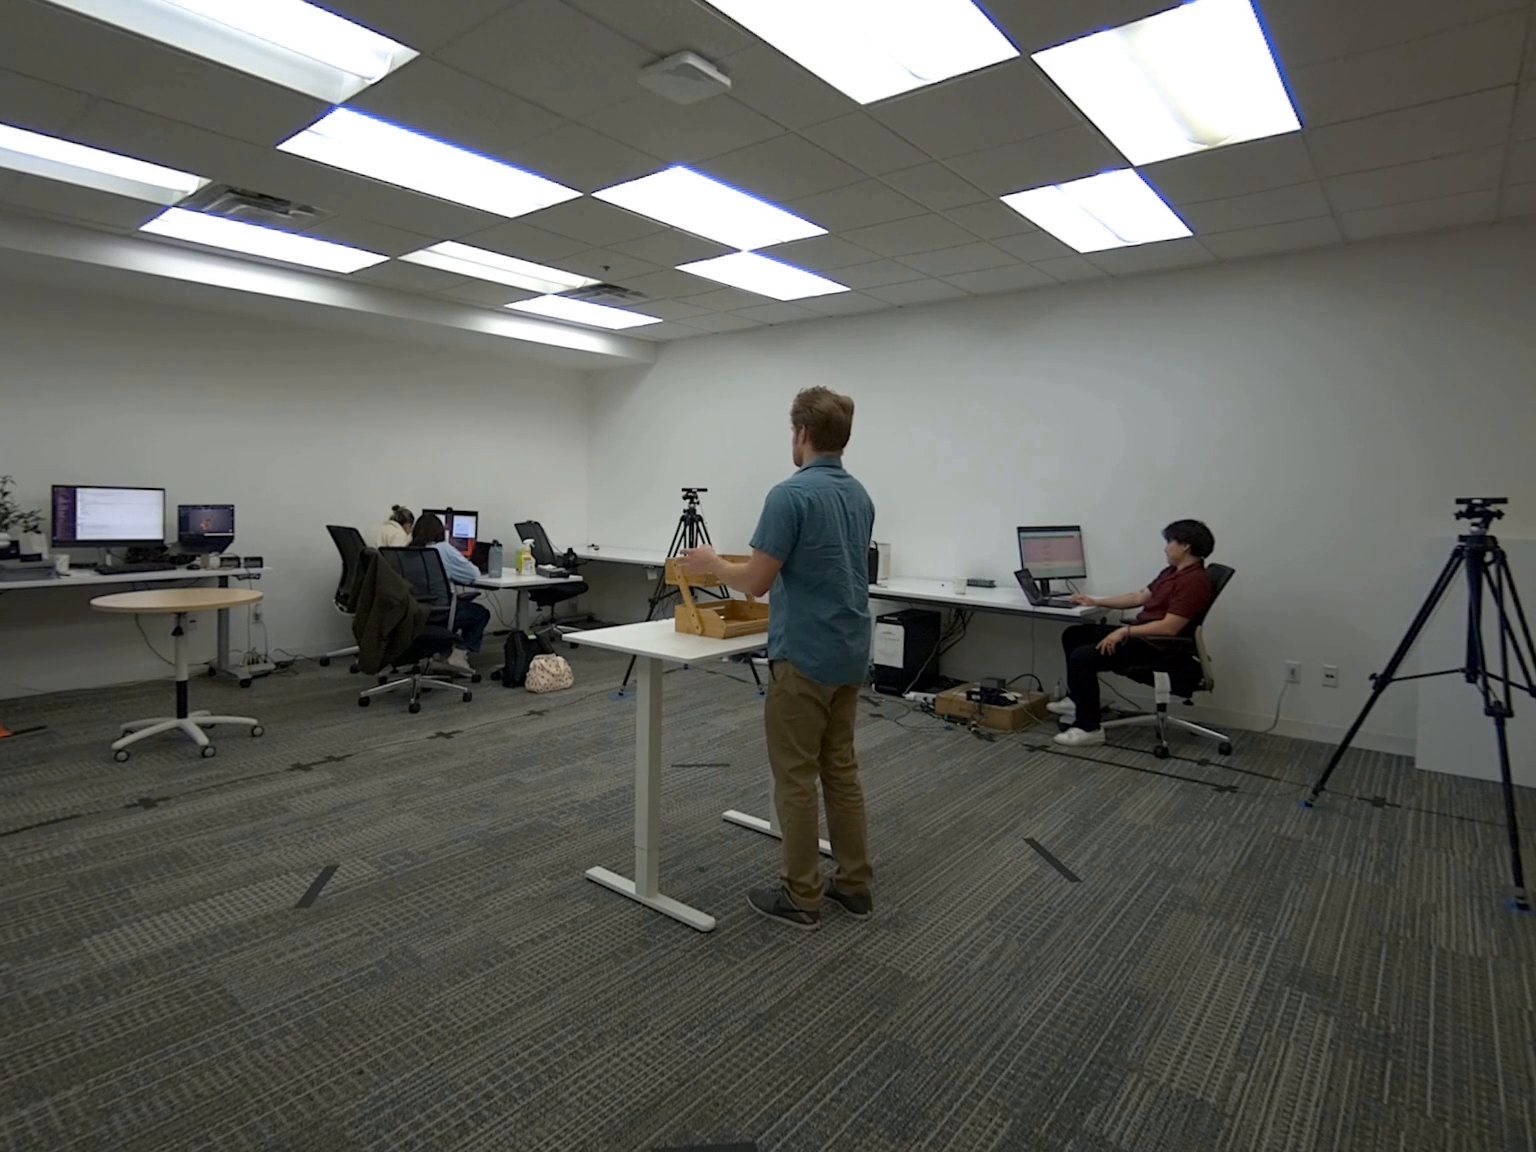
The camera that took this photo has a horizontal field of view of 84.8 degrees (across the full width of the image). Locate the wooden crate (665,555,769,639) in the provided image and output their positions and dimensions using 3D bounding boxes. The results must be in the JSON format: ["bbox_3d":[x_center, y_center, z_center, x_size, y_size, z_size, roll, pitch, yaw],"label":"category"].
[{"bbox_3d":[-0.168,0.060,3.060,0.312,0.272,0.315,3,5,42],"label":"wooden crate"}]
